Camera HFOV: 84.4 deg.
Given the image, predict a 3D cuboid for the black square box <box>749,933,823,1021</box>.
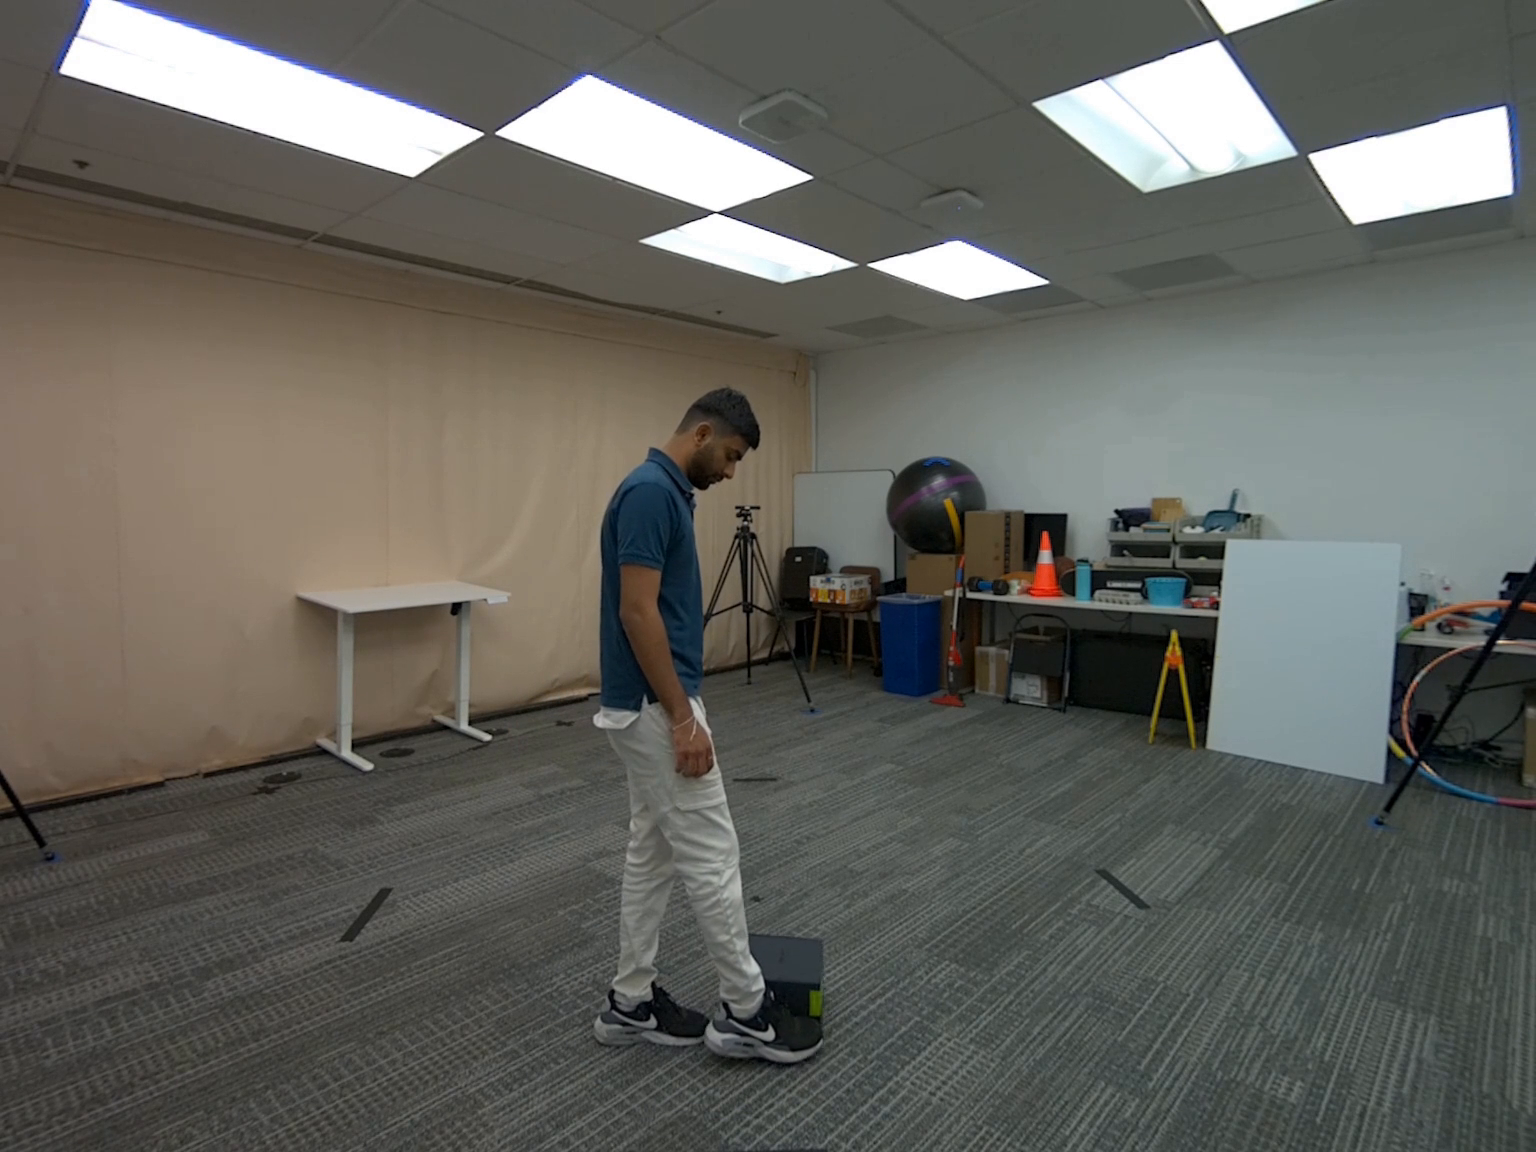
[{"bbox_3d":[0.044,1.120,2.304,0.219,0.155,0.227,1,4,6],"label":"black square box"}]
